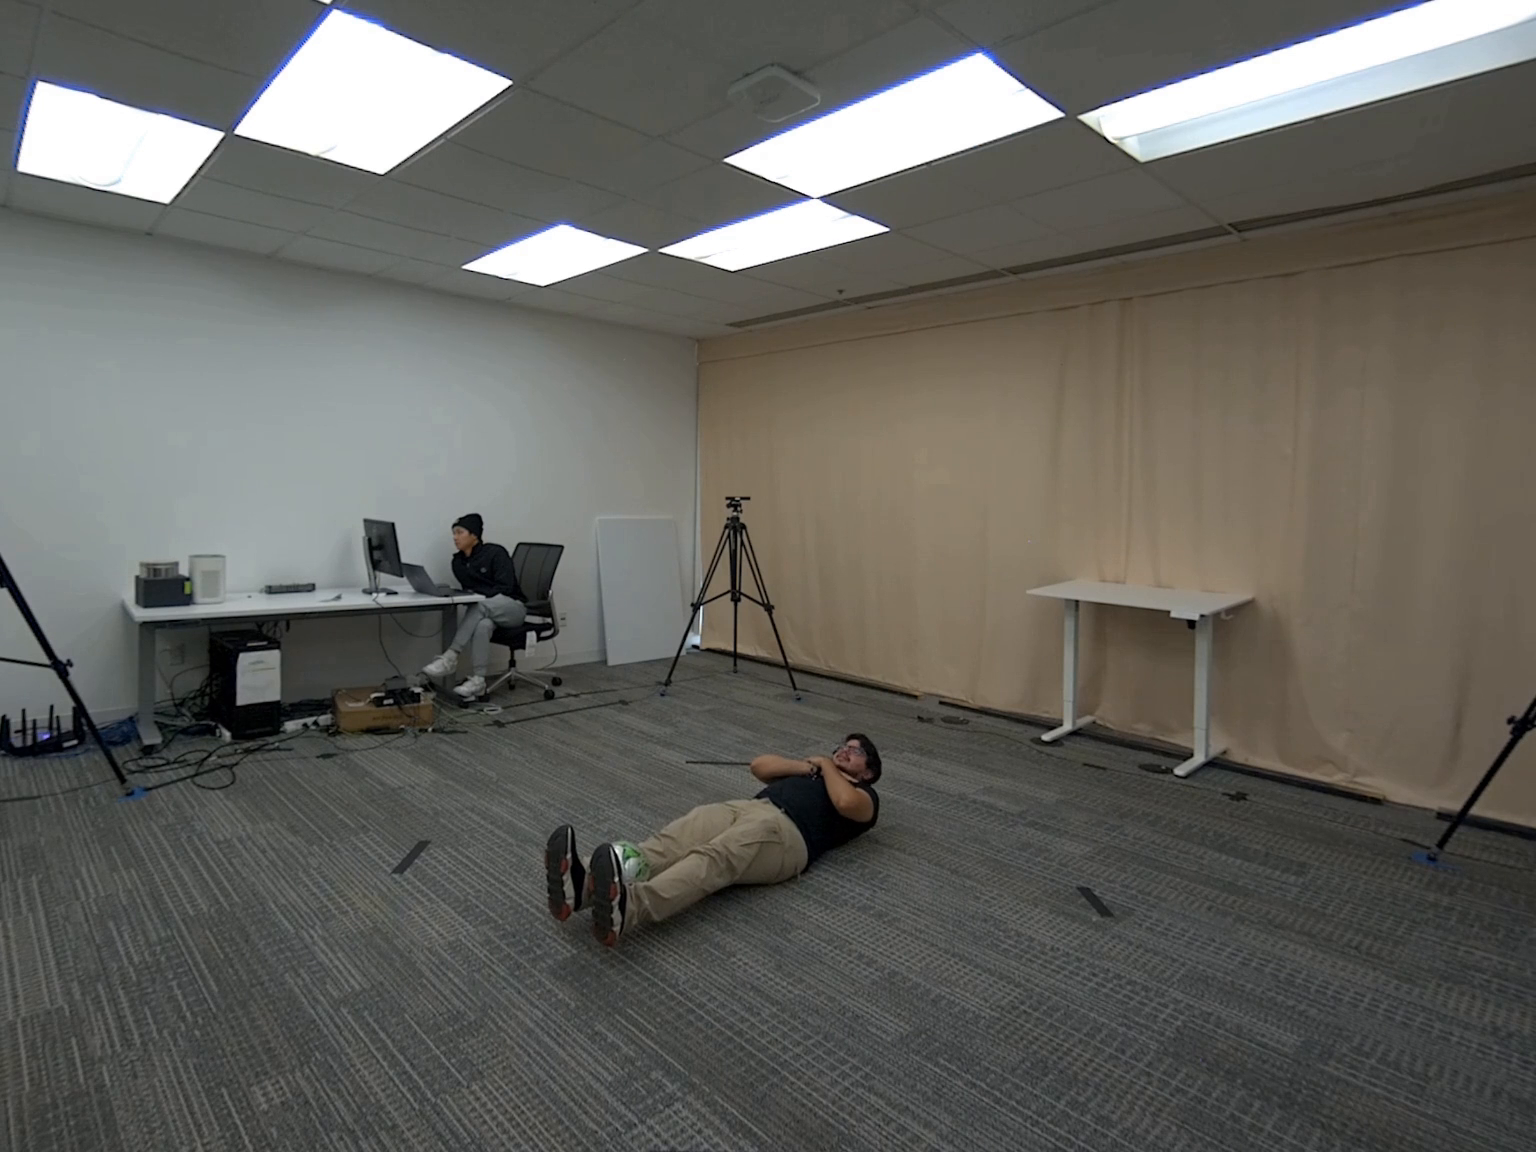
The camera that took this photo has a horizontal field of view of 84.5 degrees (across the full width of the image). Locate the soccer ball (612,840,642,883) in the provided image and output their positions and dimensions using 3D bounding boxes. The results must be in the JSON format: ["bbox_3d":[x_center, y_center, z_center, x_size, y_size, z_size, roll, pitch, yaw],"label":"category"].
[{"bbox_3d":[-0.484,0.959,2.695,0.187,0.187,0.188,1,5,-1],"label":"soccer ball"}]
